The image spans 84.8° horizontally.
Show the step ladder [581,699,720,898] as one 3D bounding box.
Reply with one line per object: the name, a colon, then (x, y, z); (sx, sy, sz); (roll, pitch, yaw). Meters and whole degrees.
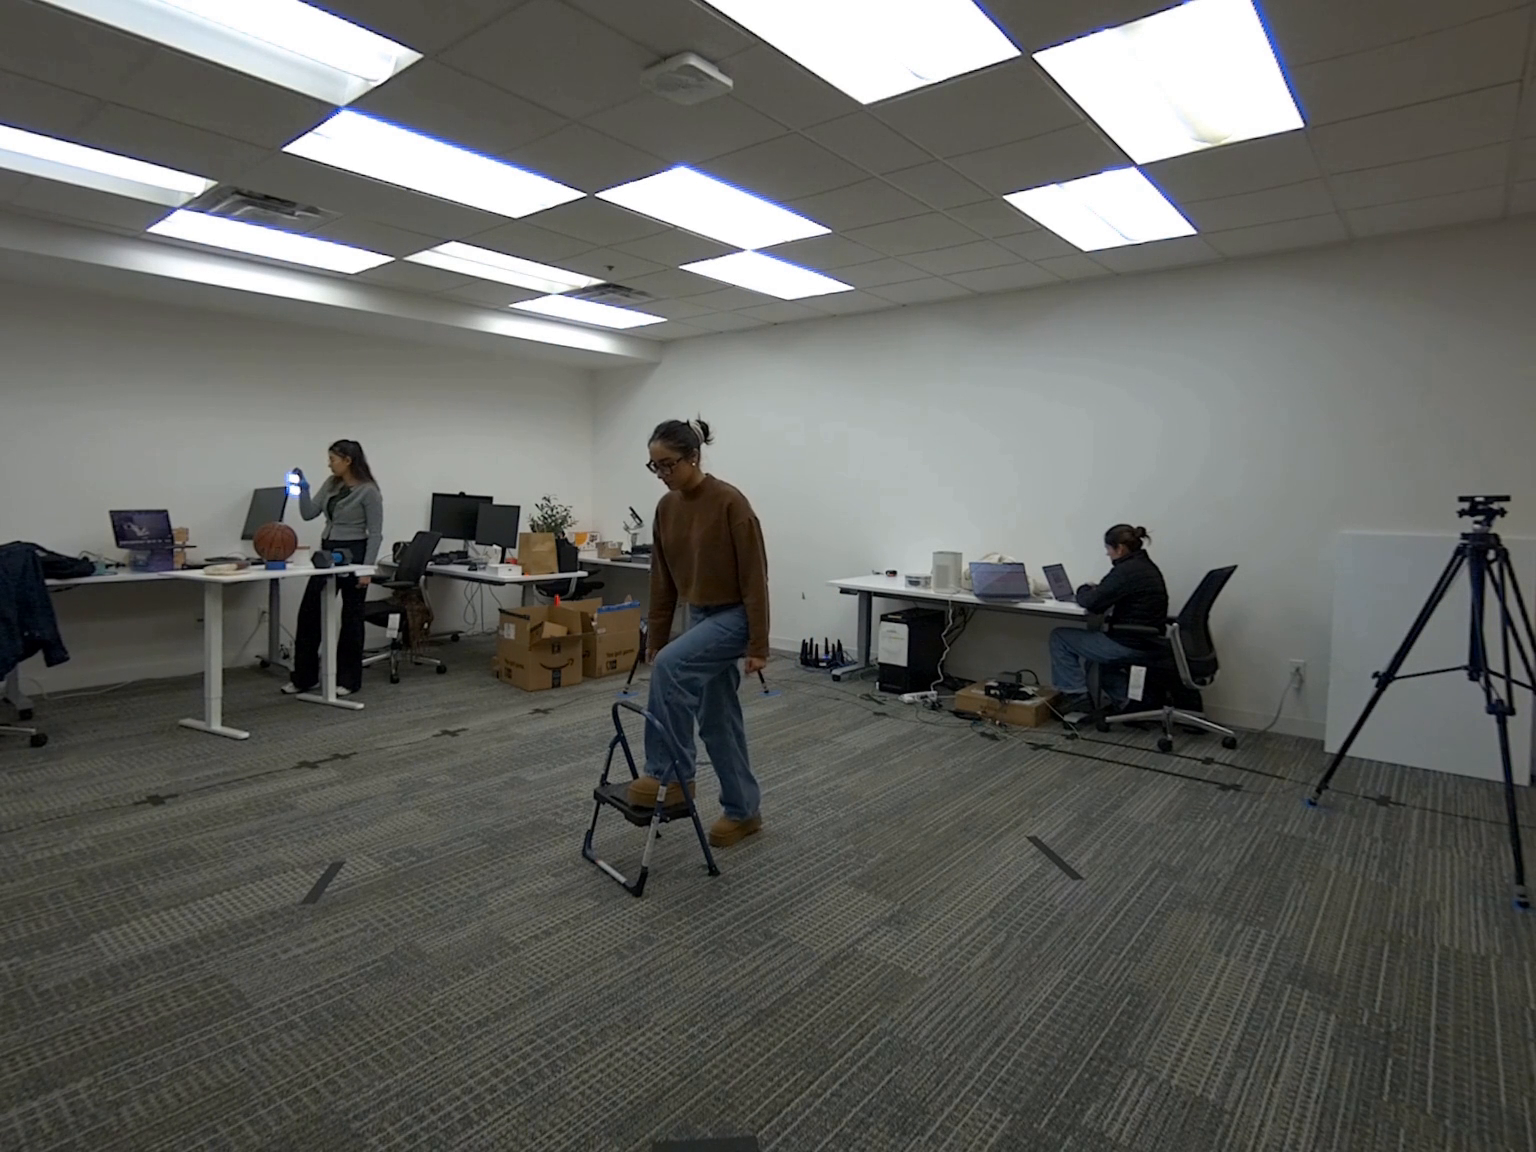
step ladder: (-0.444, 0.759, 3.116); (0.339, 0.604, 0.445); (-2, 5, -39)
